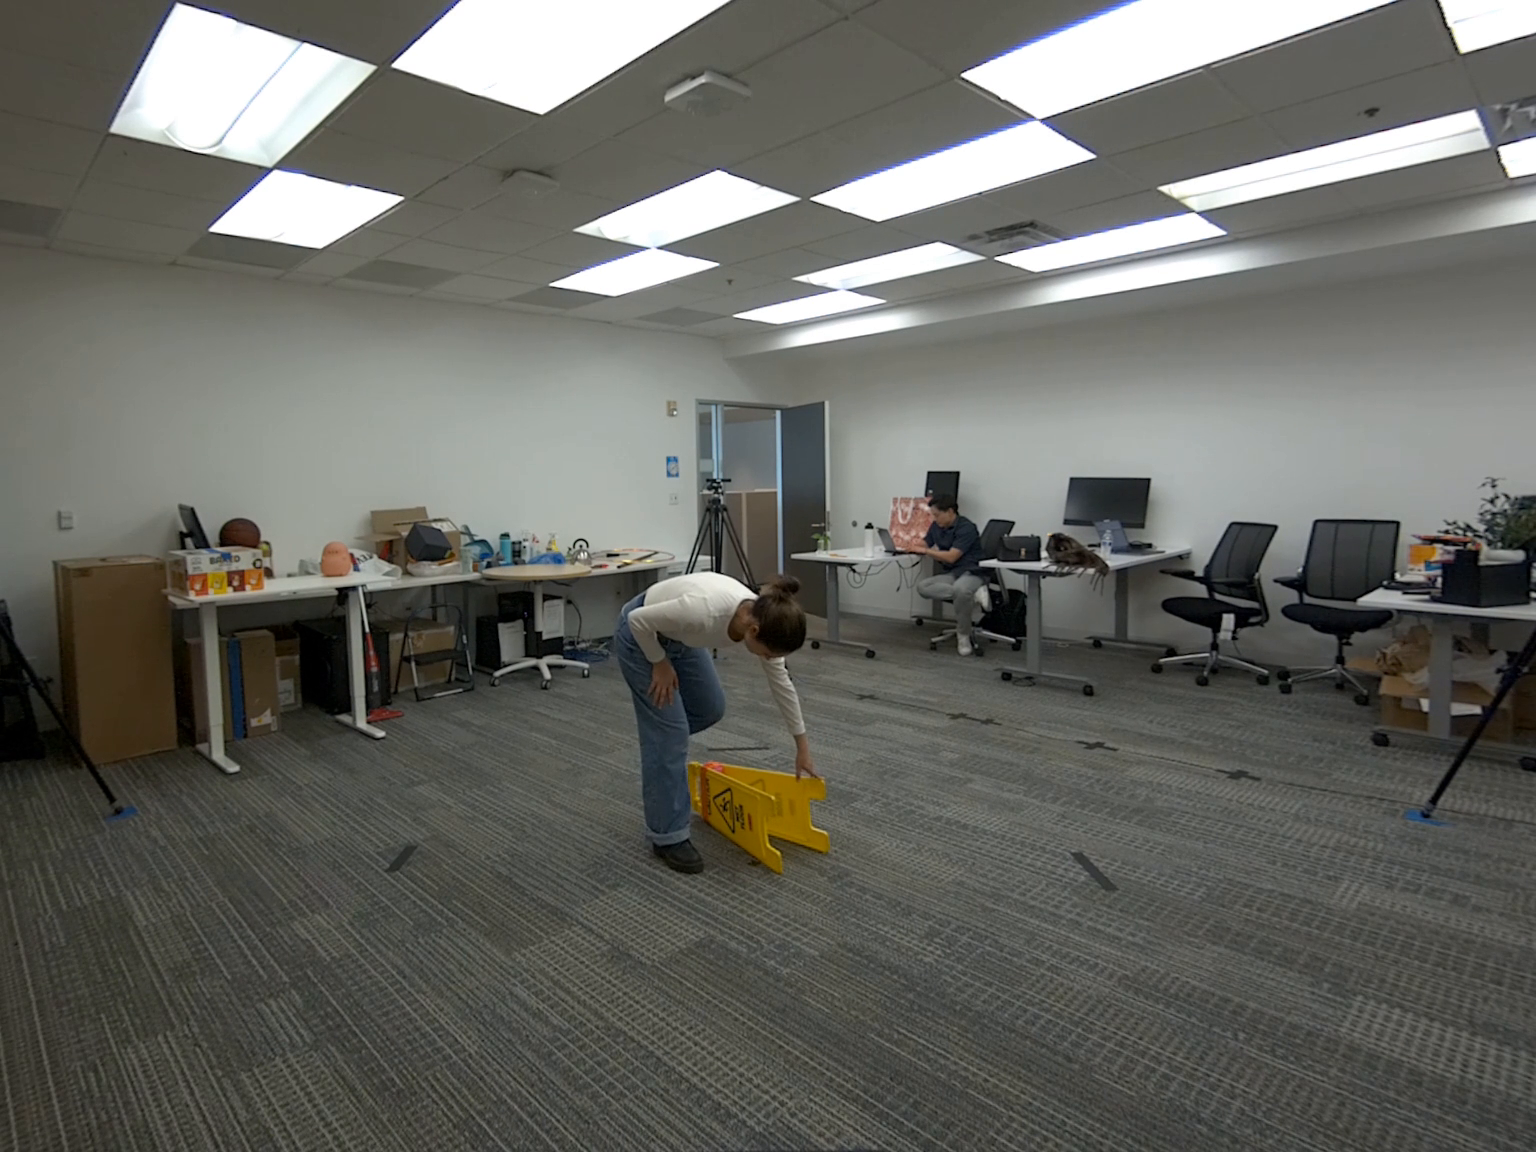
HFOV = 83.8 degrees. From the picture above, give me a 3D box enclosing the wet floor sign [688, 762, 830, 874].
[{"bbox_3d":[-0.098,0.891,3.332,0.282,0.281,0.665,-6,6,-42],"label":"wet floor sign"}]
